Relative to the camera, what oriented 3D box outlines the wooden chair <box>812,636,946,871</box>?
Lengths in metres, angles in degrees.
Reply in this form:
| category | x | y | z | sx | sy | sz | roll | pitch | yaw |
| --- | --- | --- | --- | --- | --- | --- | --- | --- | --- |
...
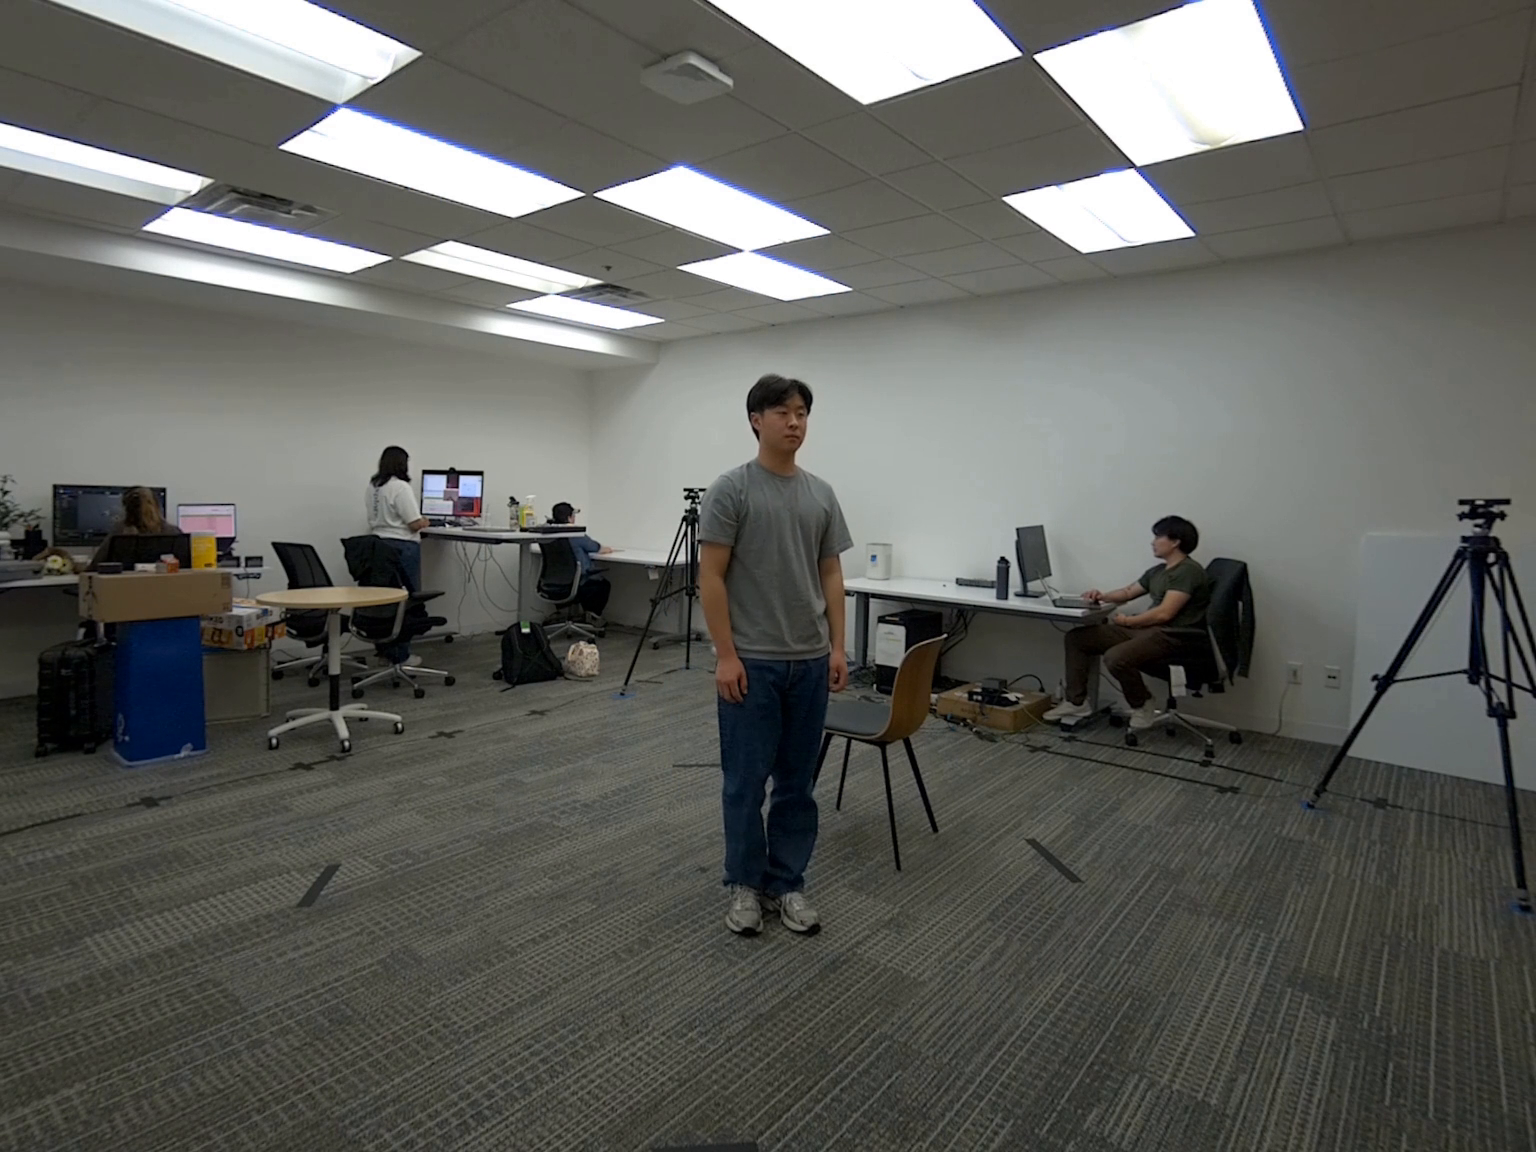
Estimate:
| category | x | y | z | sx | sy | sz | roll | pitch | yaw |
| --- | --- | --- | --- | --- | --- | --- | --- | --- | --- |
| wooden chair | 0.388 | 0.625 | 3.415 | 0.540 | 0.873 | 0.465 | 8 | 7 | 30 |
